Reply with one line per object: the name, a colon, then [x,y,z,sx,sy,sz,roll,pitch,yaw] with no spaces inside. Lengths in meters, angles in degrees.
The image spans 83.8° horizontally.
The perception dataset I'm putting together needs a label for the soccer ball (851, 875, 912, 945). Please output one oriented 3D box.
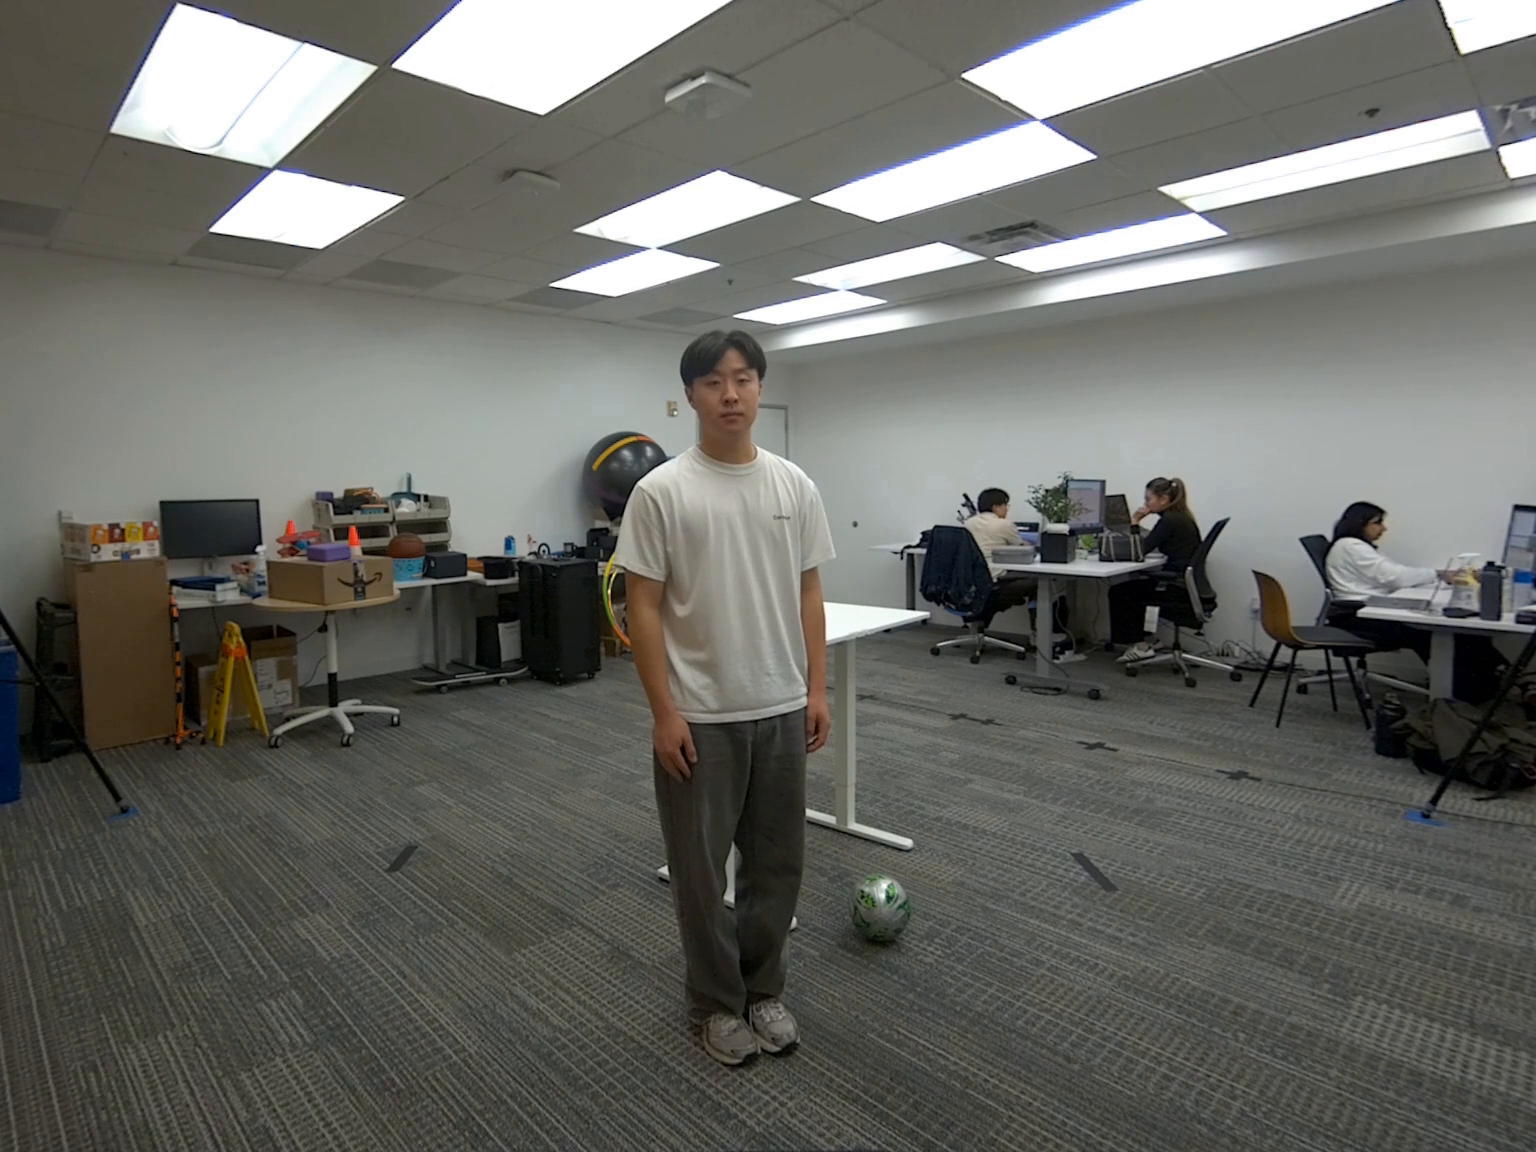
soccer ball: [0.344,1.007,2.592,0.187,0.187,0.188,-1,5,-2]
